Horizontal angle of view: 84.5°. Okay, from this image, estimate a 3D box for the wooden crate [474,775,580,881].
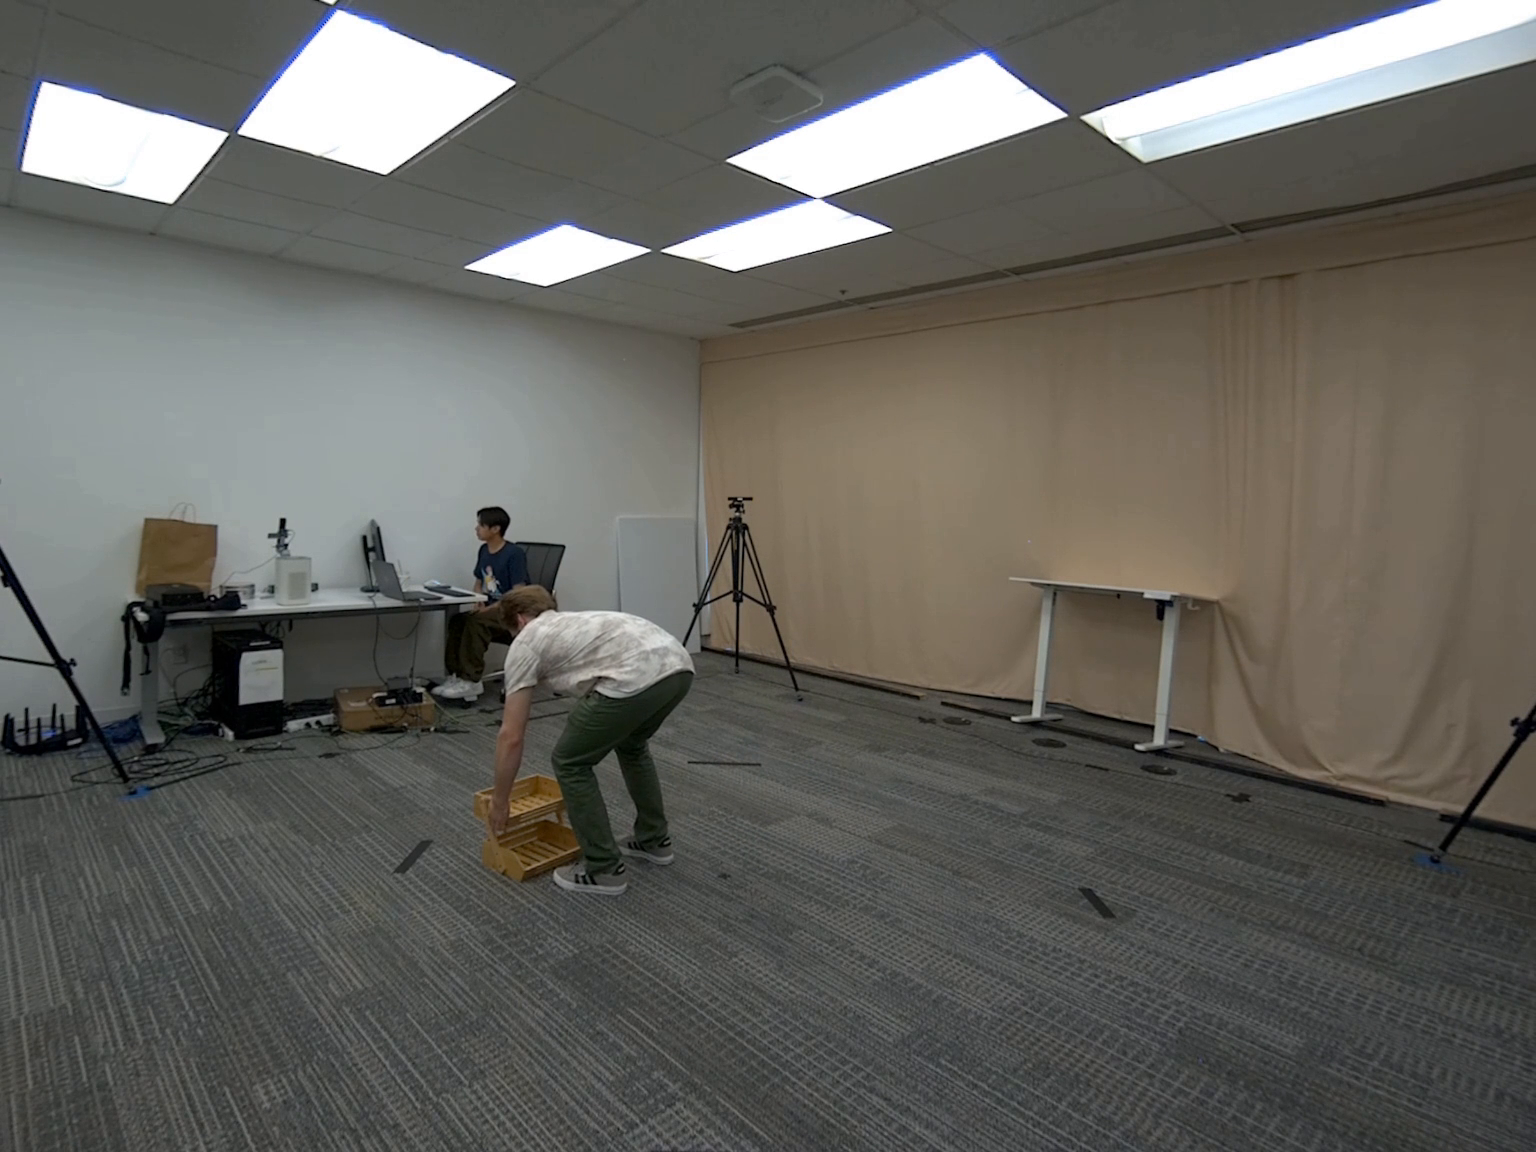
[{"bbox_3d":[-0.910,0.949,3.205,0.309,0.272,0.317,4,6,37],"label":"wooden crate"}]
